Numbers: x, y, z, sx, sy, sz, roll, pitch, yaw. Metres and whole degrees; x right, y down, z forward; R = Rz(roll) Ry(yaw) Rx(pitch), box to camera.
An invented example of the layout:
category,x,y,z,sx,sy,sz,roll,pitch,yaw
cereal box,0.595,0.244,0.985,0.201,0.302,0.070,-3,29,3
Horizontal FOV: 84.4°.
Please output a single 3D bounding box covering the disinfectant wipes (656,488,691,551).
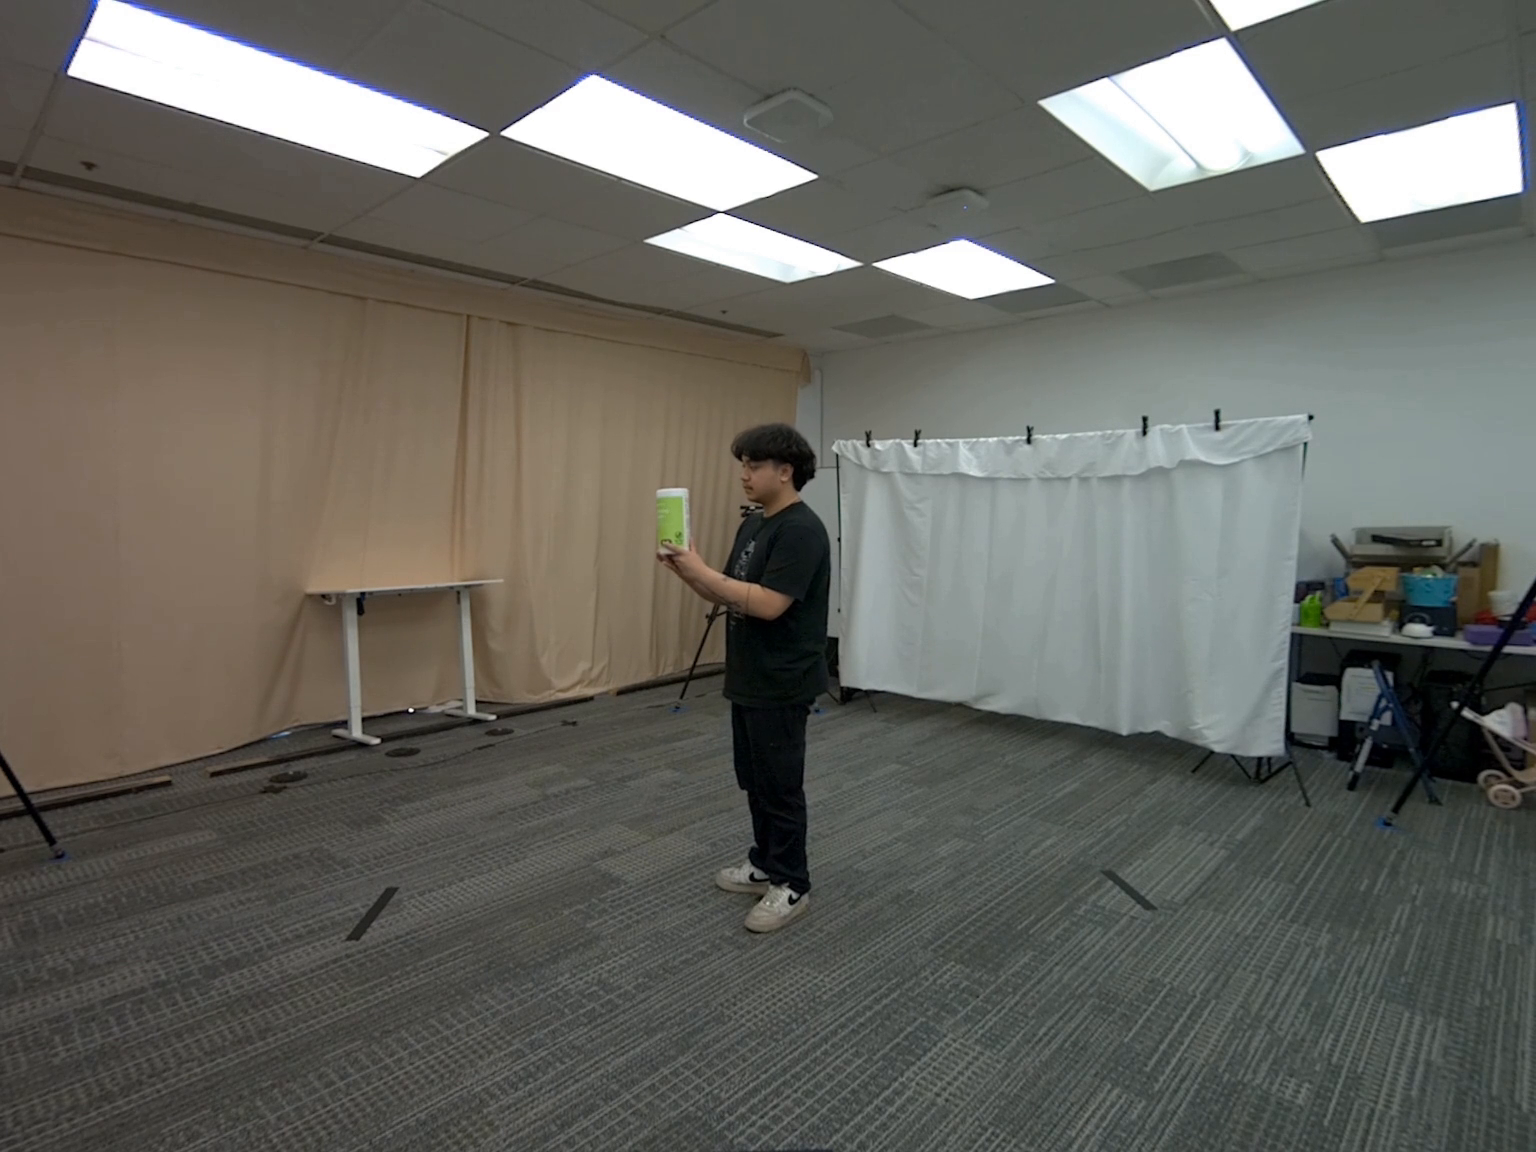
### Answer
category,x,y,z,sx,sy,sz,roll,pitch,yaw
disinfectant wipes,-0.308,-0.176,2.797,0.118,0.217,0.118,-3,2,-2
